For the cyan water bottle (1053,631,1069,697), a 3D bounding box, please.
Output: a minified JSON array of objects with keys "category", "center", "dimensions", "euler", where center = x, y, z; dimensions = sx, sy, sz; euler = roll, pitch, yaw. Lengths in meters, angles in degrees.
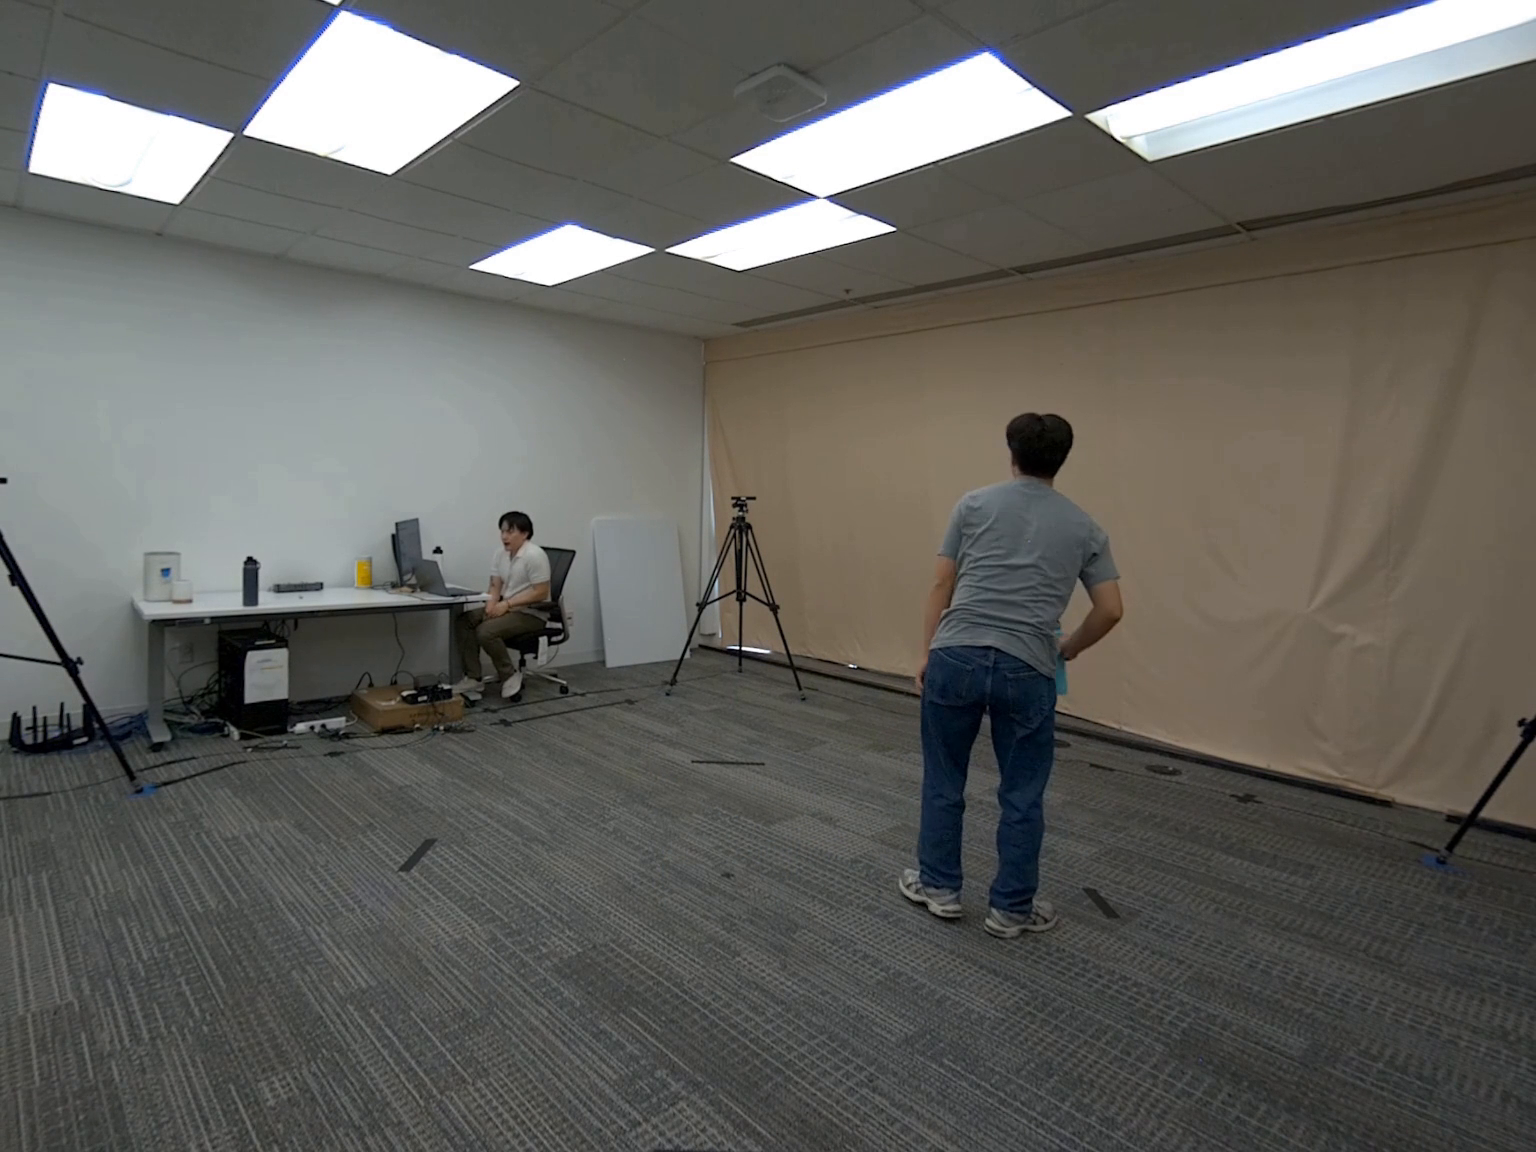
[{"category":"cyan water bottle","center":[0.996,0.286,3.003],"dimensions":[0.092,0.284,0.092],"euler":[0,-2,-1]}]
